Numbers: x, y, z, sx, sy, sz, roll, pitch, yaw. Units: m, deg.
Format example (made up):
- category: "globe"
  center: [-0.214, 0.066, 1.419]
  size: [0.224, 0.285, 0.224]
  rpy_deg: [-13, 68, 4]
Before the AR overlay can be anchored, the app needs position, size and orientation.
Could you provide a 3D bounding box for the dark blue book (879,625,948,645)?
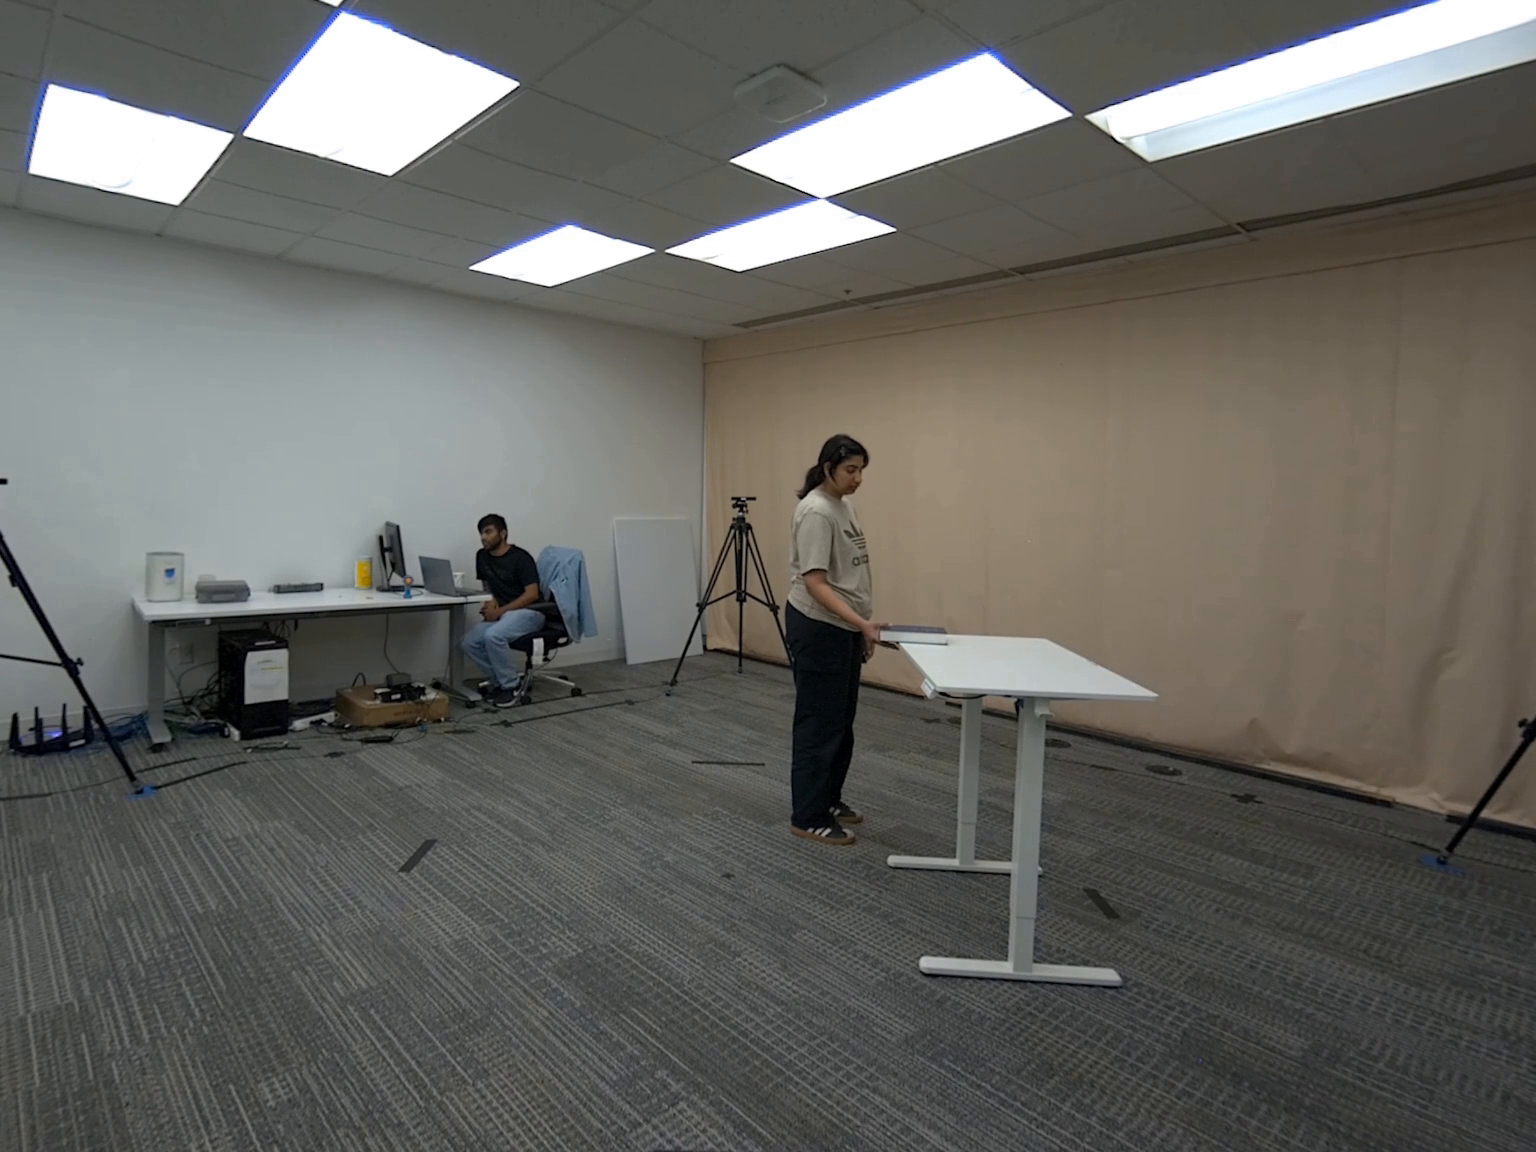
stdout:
- category: "dark blue book"
  center: [0.533, 0.218, 3.136]
  size: [0.246, 0.045, 0.163]
  rpy_deg: [3, 5, 6]
